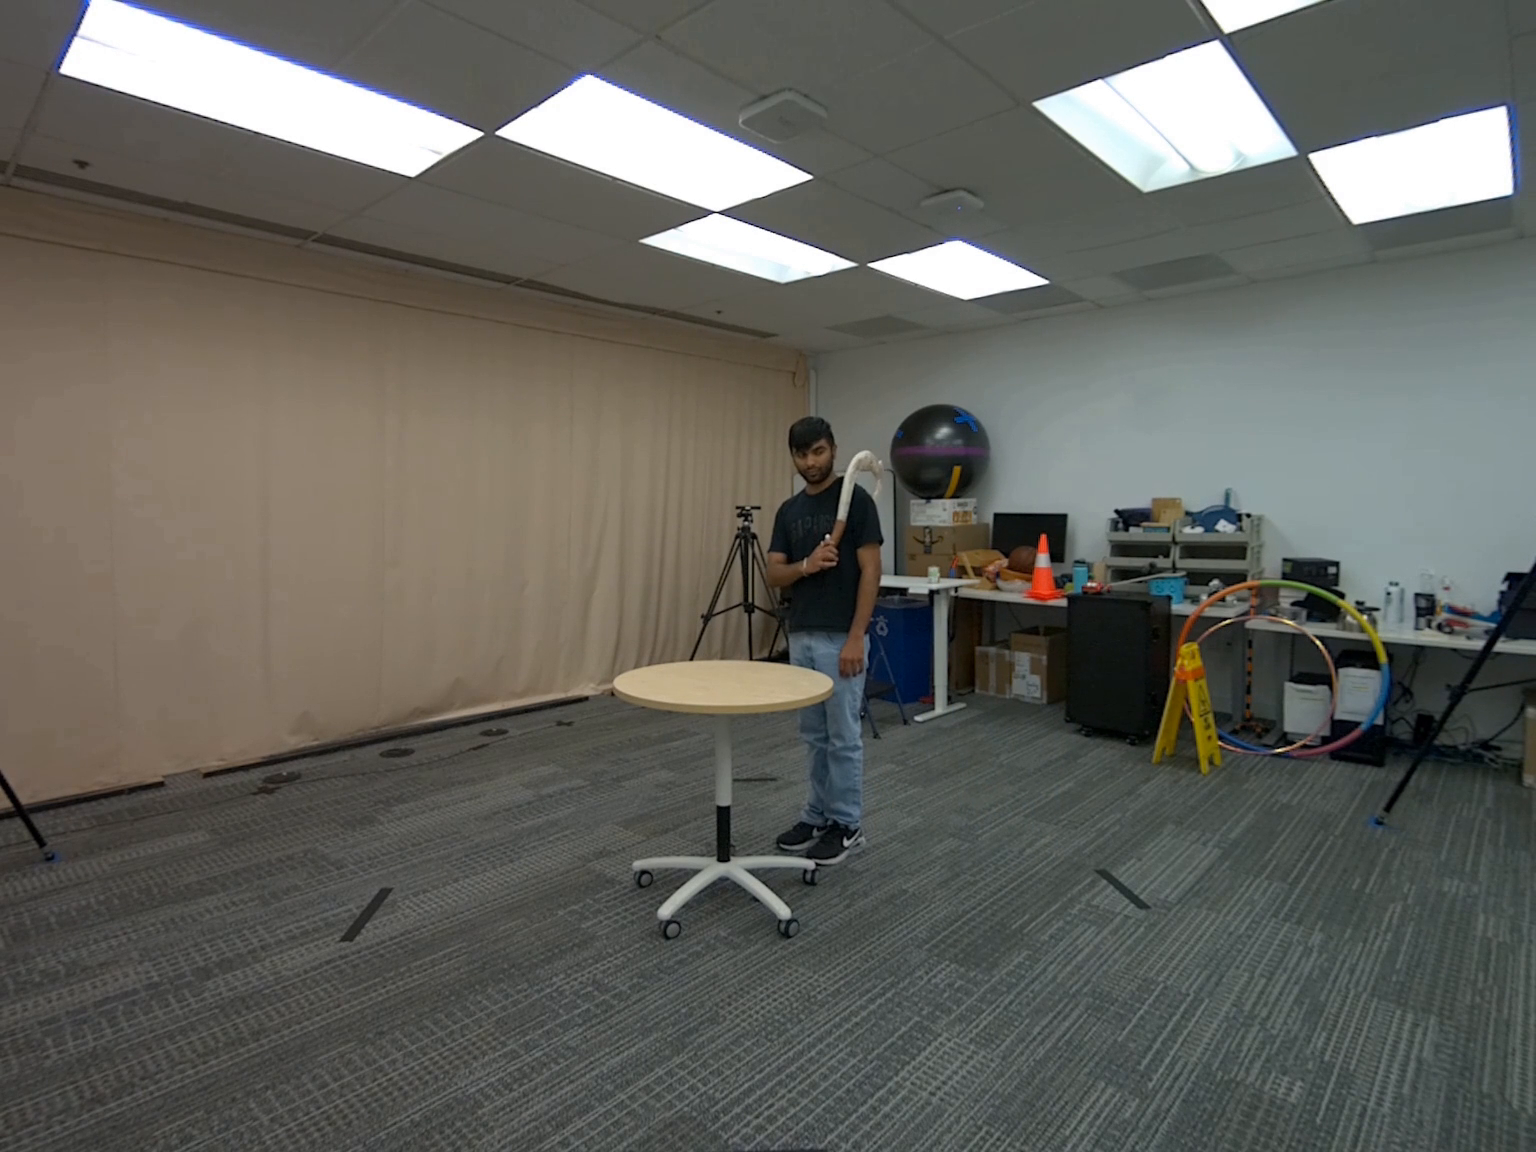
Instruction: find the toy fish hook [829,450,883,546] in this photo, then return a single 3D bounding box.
[{"bbox_3d":[0.344,-0.244,3.275,0.217,0.508,0.050,25,-14,-34],"label":"toy fish hook"}]
